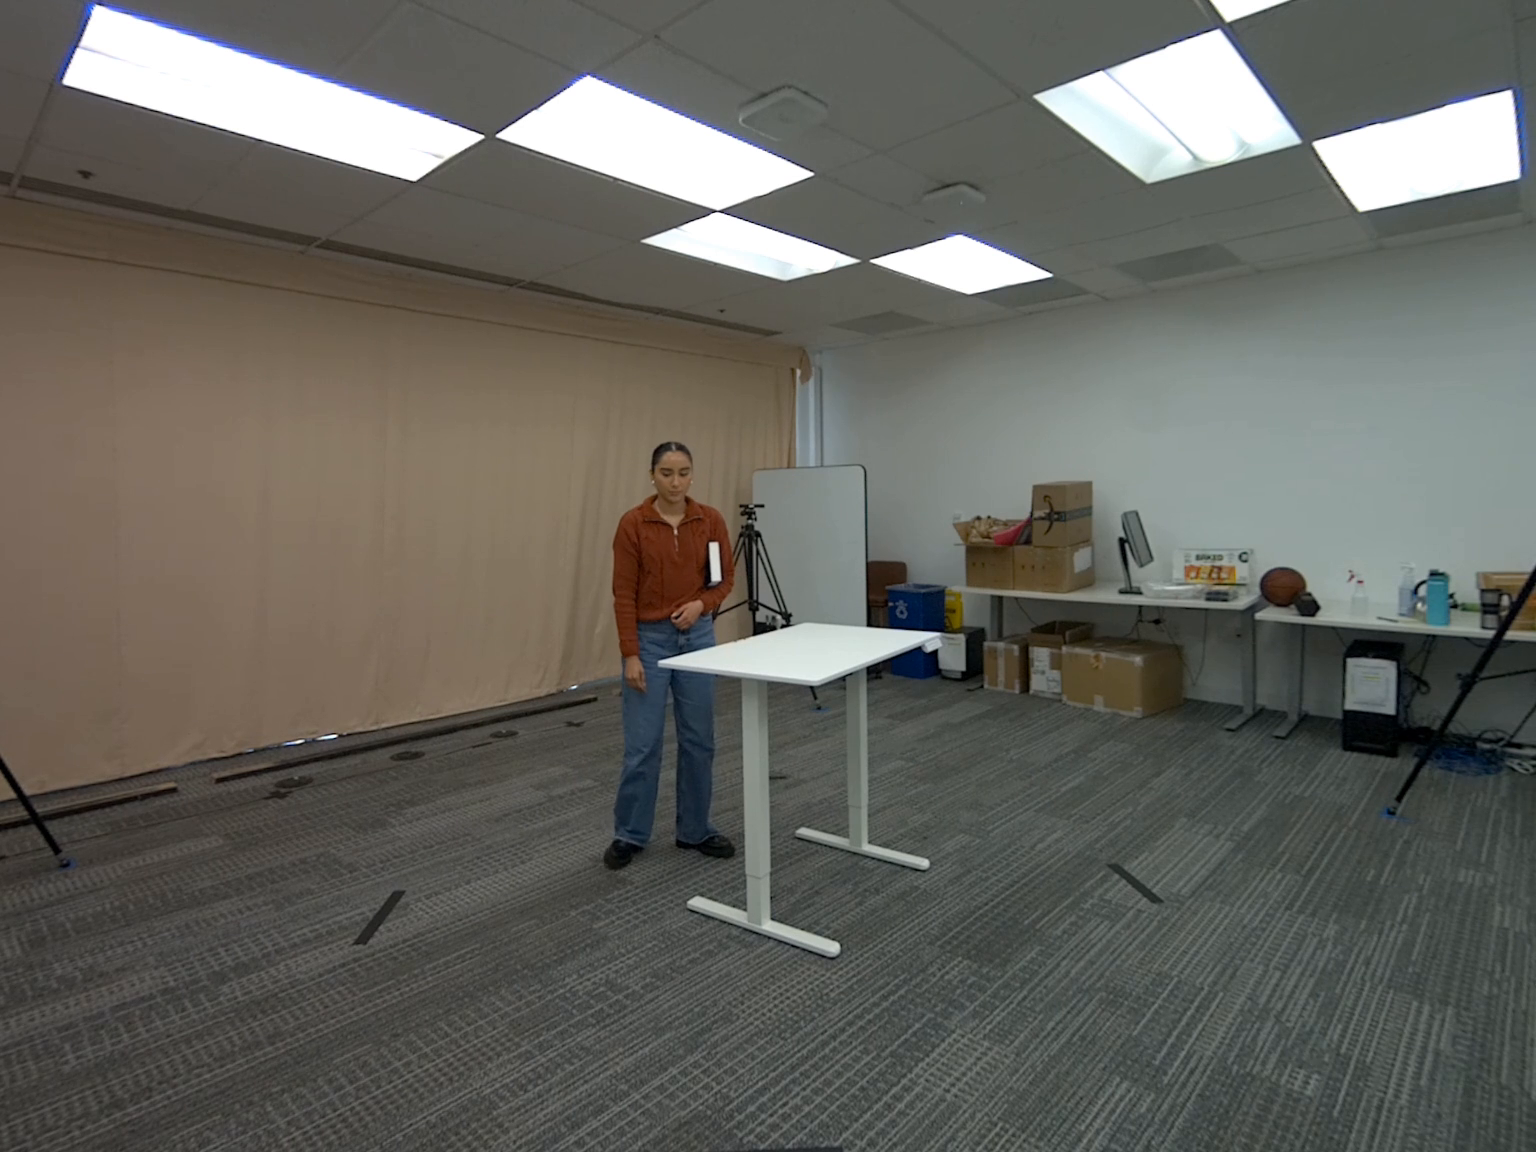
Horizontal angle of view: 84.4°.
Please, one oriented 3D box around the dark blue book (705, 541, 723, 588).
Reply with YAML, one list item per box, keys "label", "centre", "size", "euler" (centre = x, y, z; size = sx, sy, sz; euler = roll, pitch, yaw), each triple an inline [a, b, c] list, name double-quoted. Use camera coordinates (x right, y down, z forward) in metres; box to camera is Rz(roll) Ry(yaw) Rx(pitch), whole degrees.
- label: "dark blue book"
  centre: [-0.240, -0.036, 3.398]
  size: [0.044, 0.164, 0.247]
  euler: [0, -10, -17]
